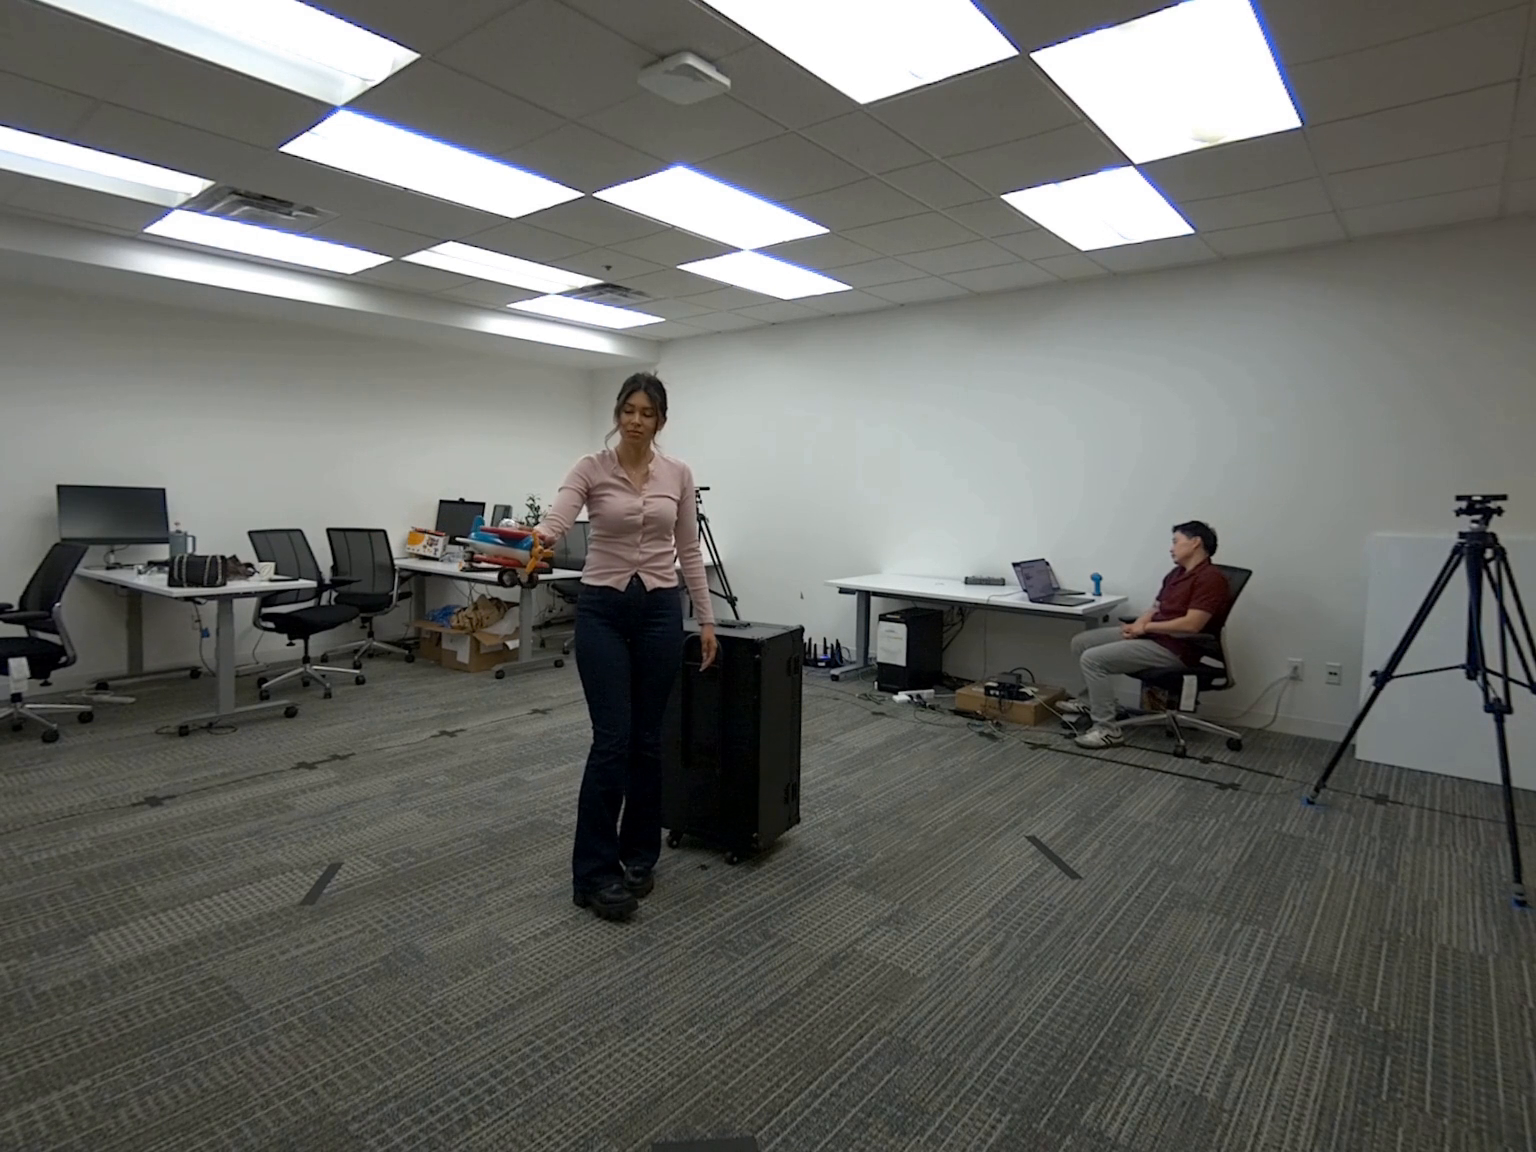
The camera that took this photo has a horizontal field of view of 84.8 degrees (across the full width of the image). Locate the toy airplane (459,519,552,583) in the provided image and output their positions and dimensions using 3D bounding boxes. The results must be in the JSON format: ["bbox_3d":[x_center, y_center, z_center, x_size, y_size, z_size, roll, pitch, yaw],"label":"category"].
[{"bbox_3d":[-0.748,-0.074,2.313,0.258,0.156,0.252,23,6,-3],"label":"toy airplane"}]
